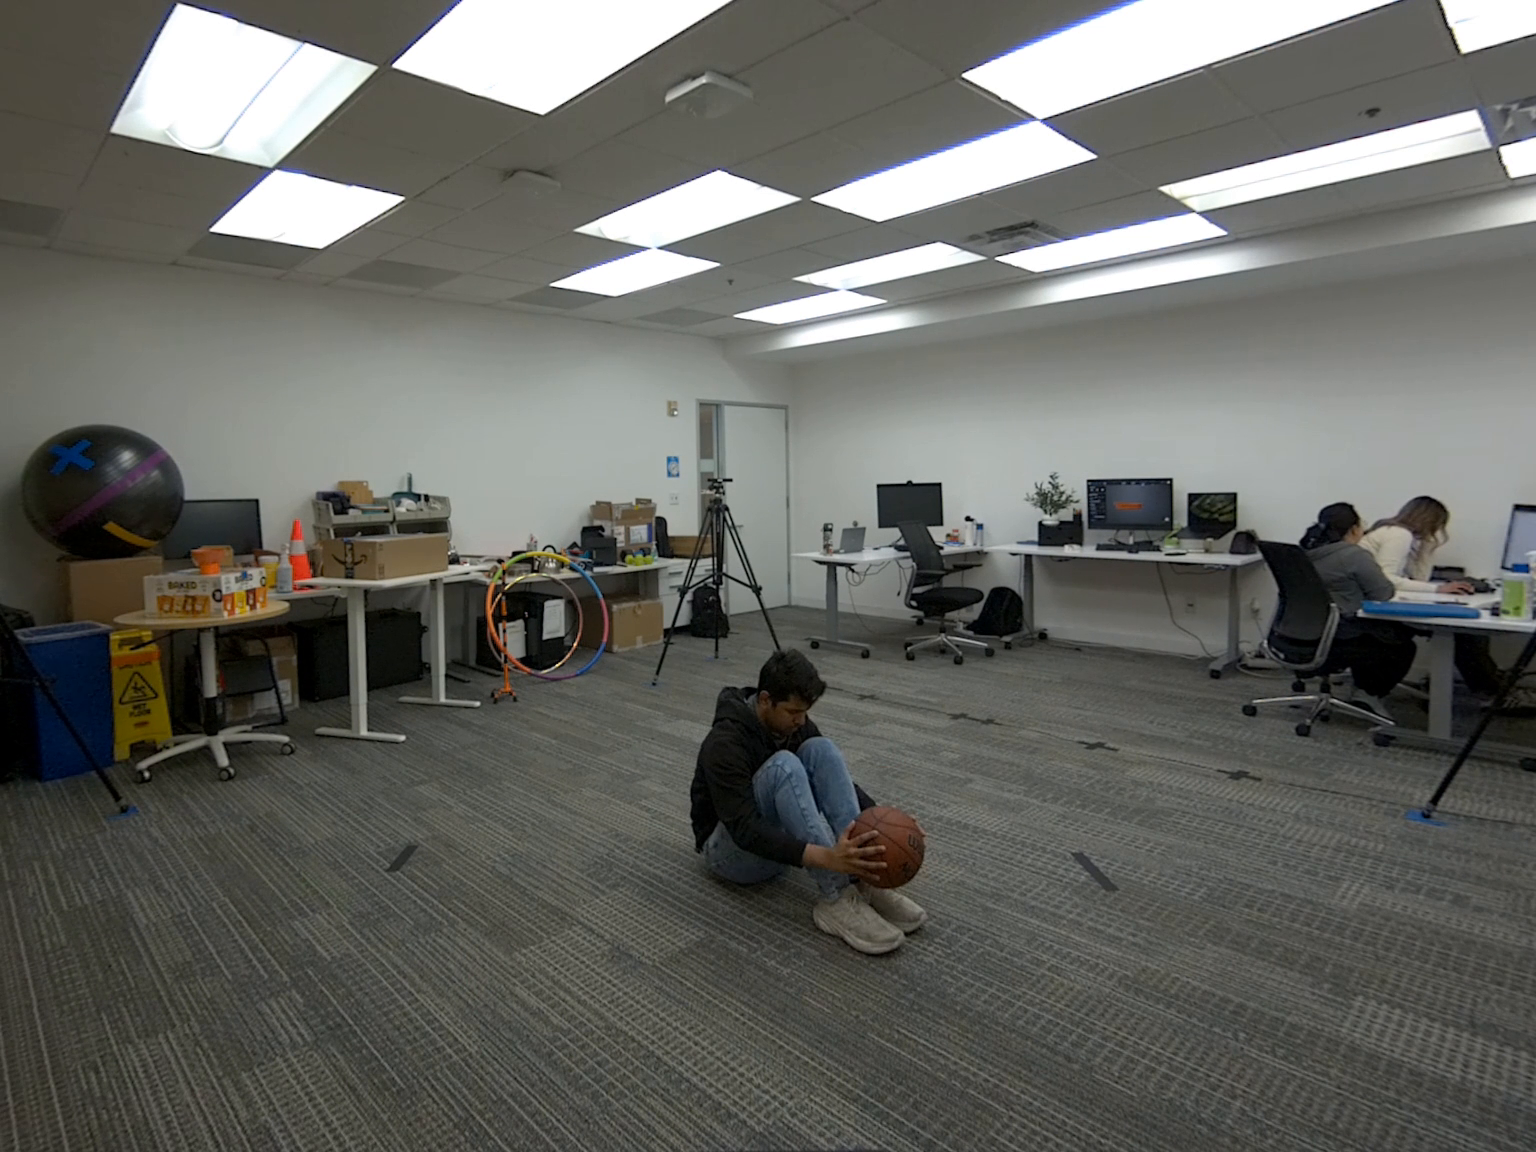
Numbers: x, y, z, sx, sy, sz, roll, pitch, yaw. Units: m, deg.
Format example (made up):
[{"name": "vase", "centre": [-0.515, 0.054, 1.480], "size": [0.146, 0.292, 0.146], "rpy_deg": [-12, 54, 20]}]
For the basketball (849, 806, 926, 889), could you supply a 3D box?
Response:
[{"name": "basketball", "centre": [0.349, 0.813, 2.620], "size": [0.236, 0.235, 0.237], "rpy_deg": [-1, 5, -2]}]
